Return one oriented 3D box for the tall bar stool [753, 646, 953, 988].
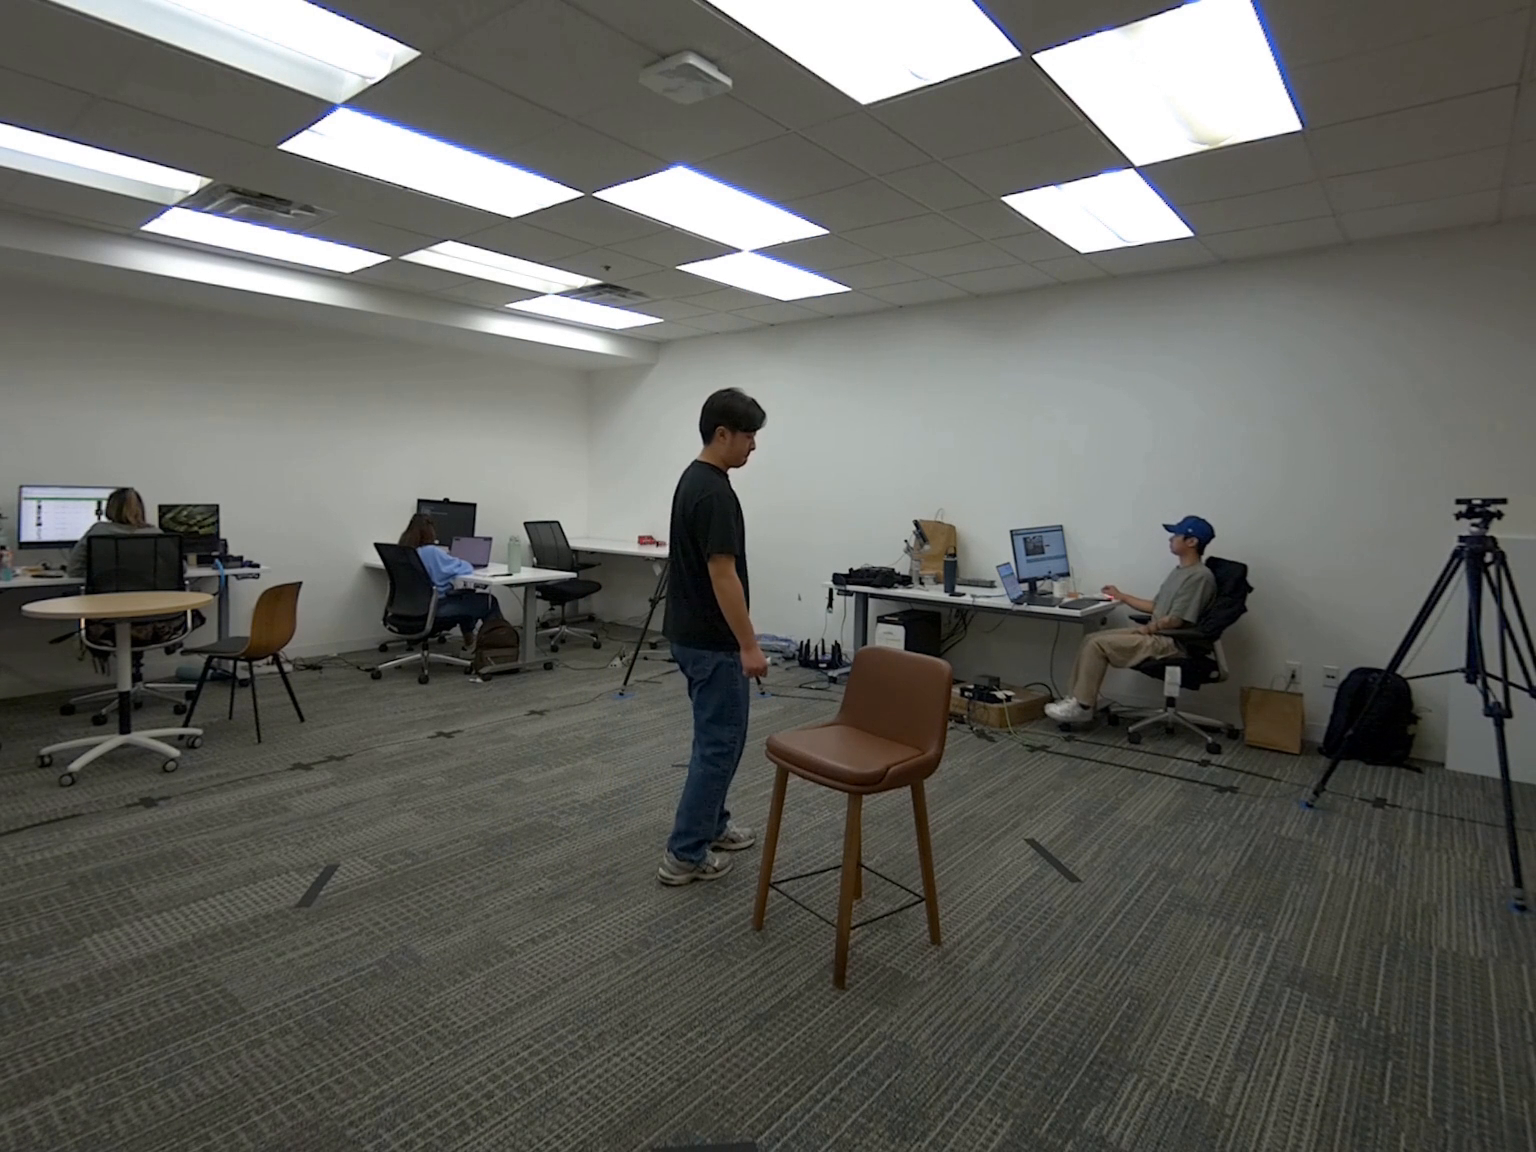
[{"bbox_3d":[0.260,0.691,2.641,0.453,0.888,0.471,1,3,-37],"label":"tall bar stool"}]
